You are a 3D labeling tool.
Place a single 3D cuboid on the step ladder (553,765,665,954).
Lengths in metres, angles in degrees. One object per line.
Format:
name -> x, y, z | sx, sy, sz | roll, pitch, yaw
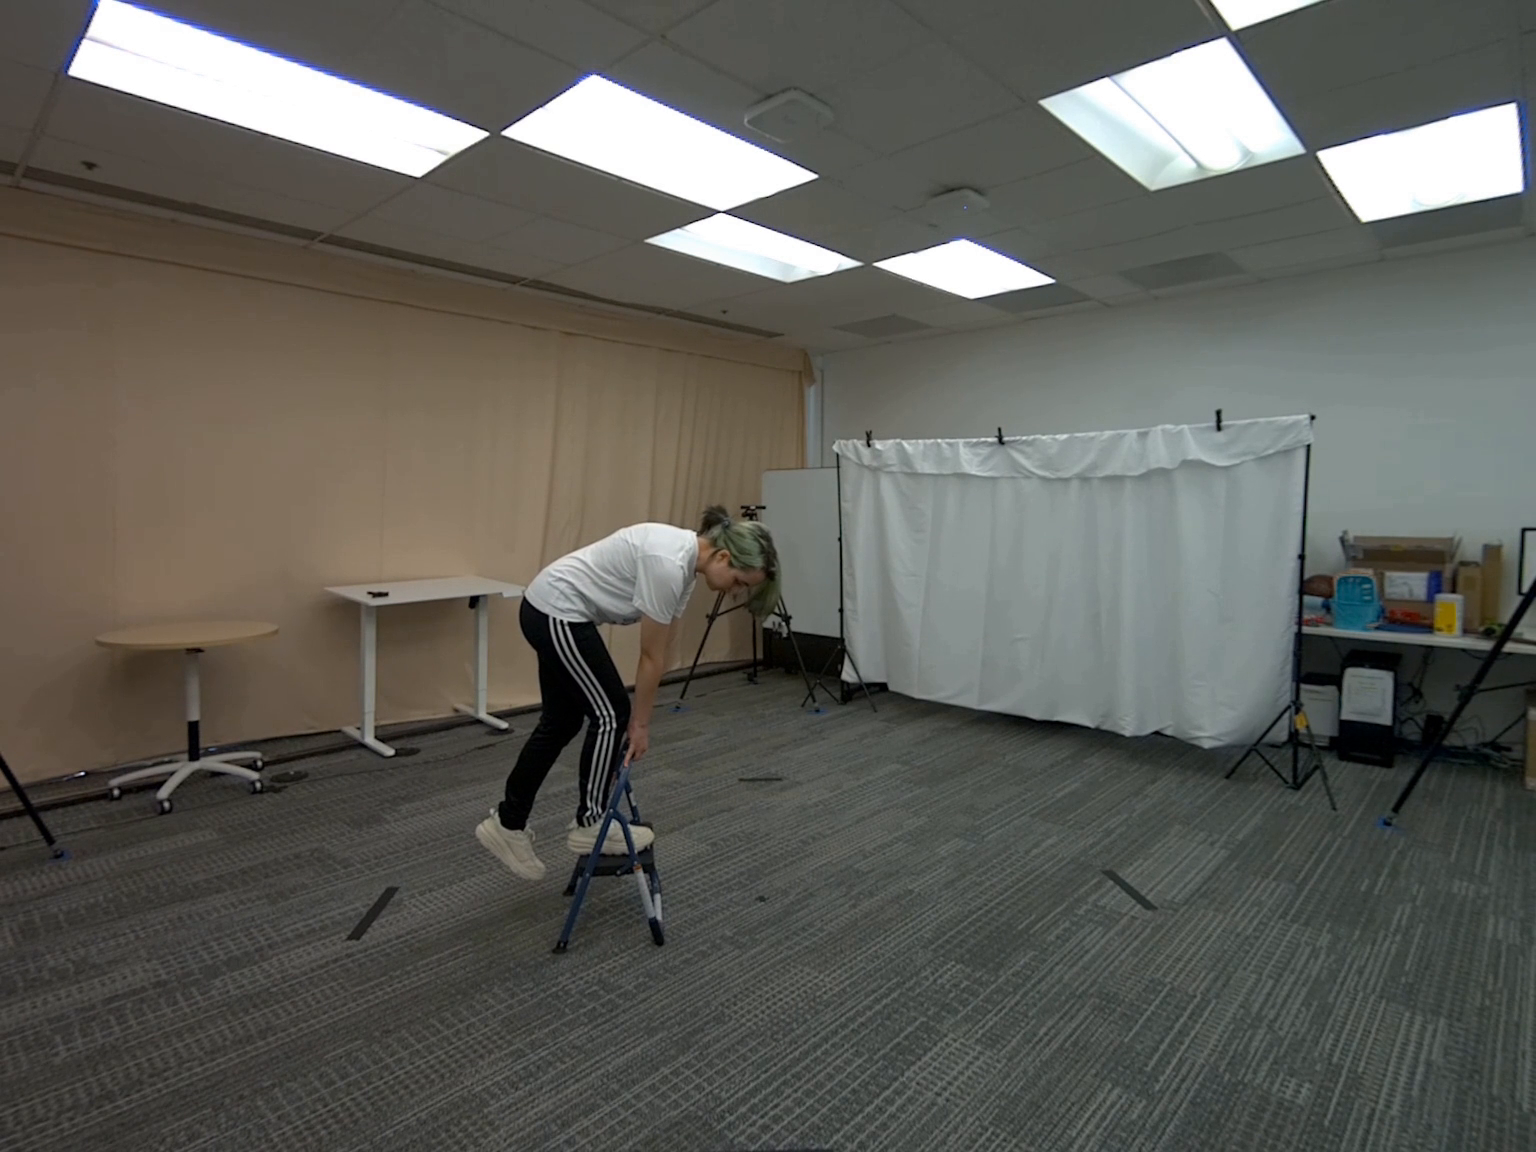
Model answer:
step ladder -> -0.533, 0.862, 2.838 | 0.347, 0.605, 0.435 | -1, 3, -8
